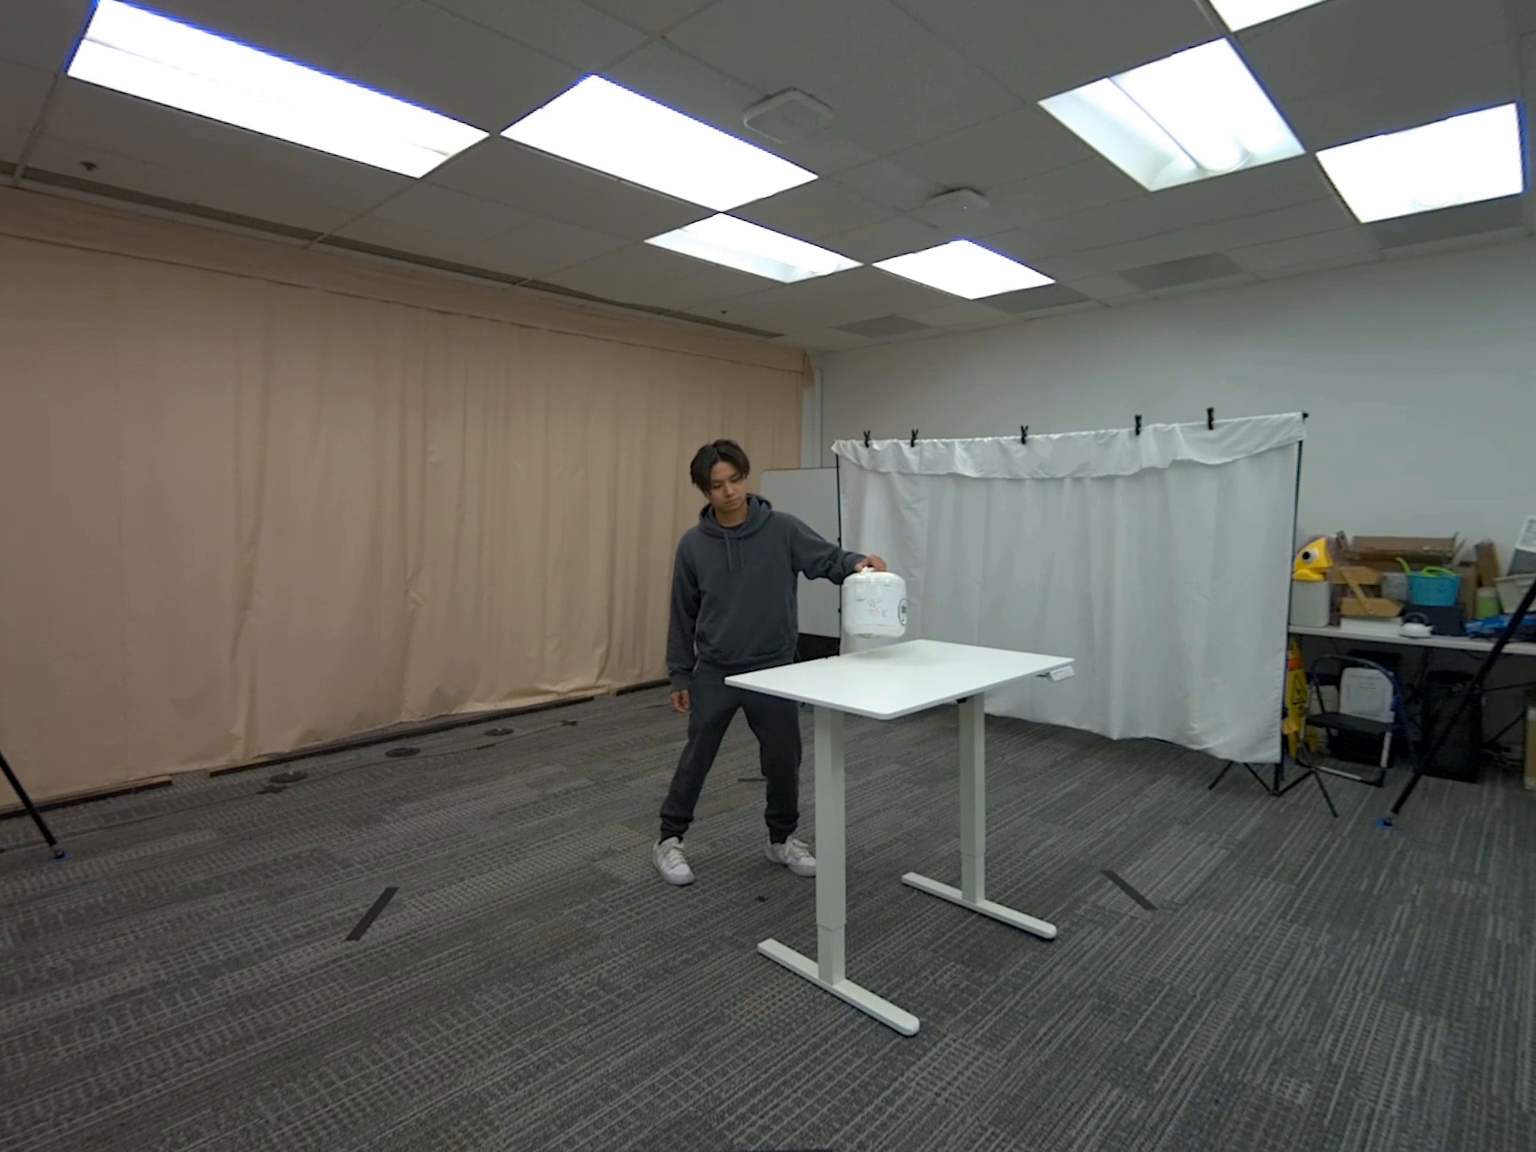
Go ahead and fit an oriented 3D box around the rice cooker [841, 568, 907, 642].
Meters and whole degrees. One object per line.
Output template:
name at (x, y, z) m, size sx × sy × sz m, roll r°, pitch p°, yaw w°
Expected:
rice cooker at (0.367, 0.092, 2.839) m, size 0.224 × 0.234 × 0.213 m, roll -6°, pitch -12°, yaw 36°
